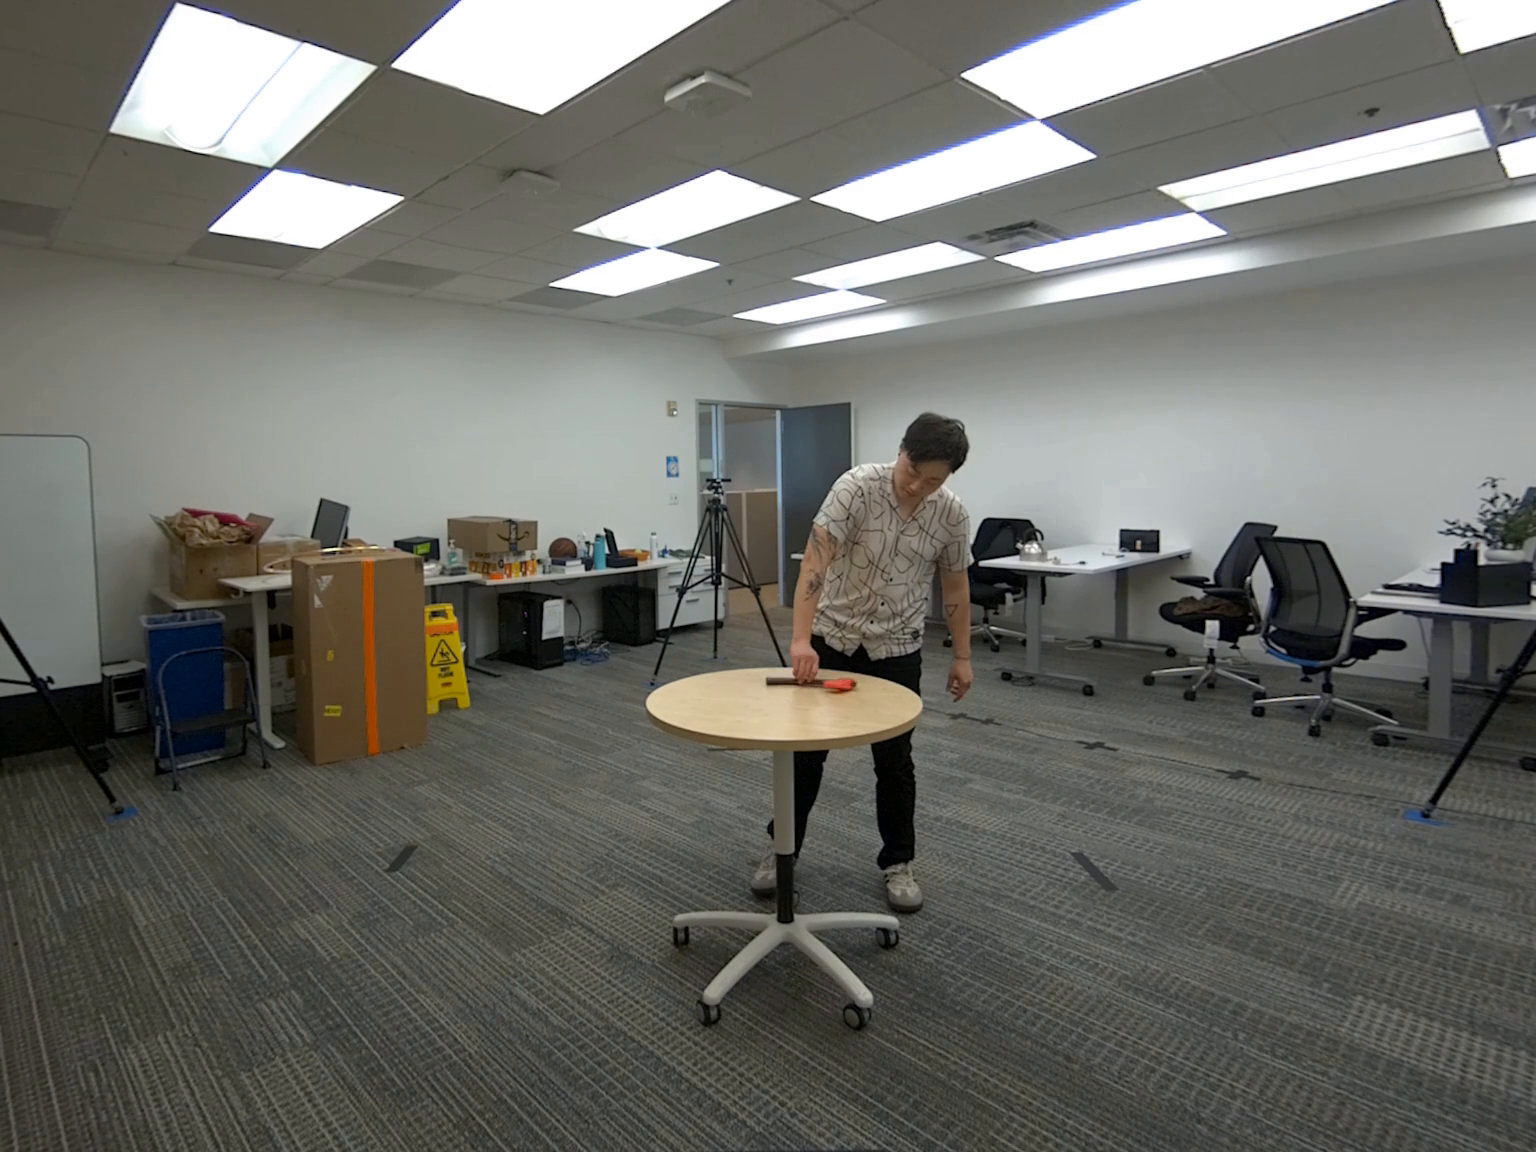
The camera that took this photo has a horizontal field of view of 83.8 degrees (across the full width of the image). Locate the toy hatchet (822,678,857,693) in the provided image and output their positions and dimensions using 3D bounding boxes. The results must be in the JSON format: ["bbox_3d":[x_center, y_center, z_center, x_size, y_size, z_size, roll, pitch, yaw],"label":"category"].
[{"bbox_3d":[0.121,0.314,2.500,0.271,0.030,0.130,0,-5,5],"label":"toy hatchet"}]
